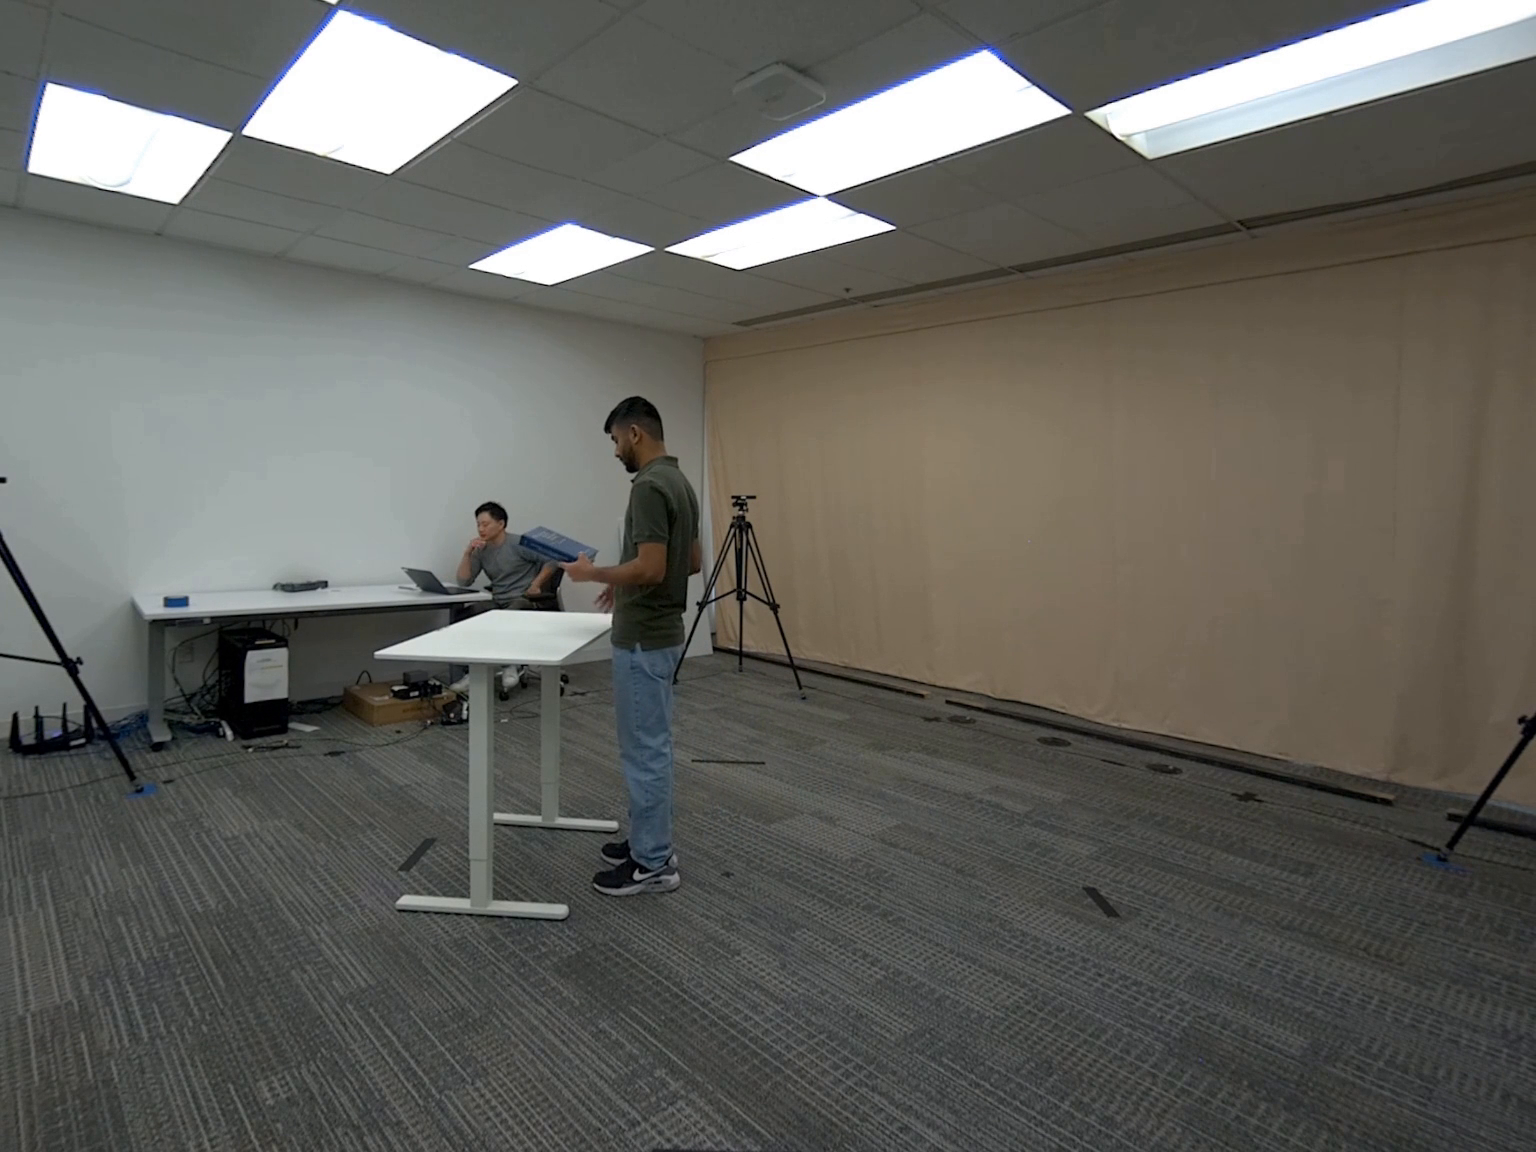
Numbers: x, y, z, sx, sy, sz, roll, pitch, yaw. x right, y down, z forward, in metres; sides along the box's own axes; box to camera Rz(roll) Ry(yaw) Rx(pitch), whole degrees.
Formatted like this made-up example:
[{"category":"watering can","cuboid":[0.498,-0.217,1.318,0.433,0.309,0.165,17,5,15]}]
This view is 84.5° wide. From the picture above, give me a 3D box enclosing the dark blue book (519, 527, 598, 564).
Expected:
[{"category":"dark blue book","cuboid":[-0.772,-0.101,3.077,0.248,0.045,0.163,21,16,10]}]
